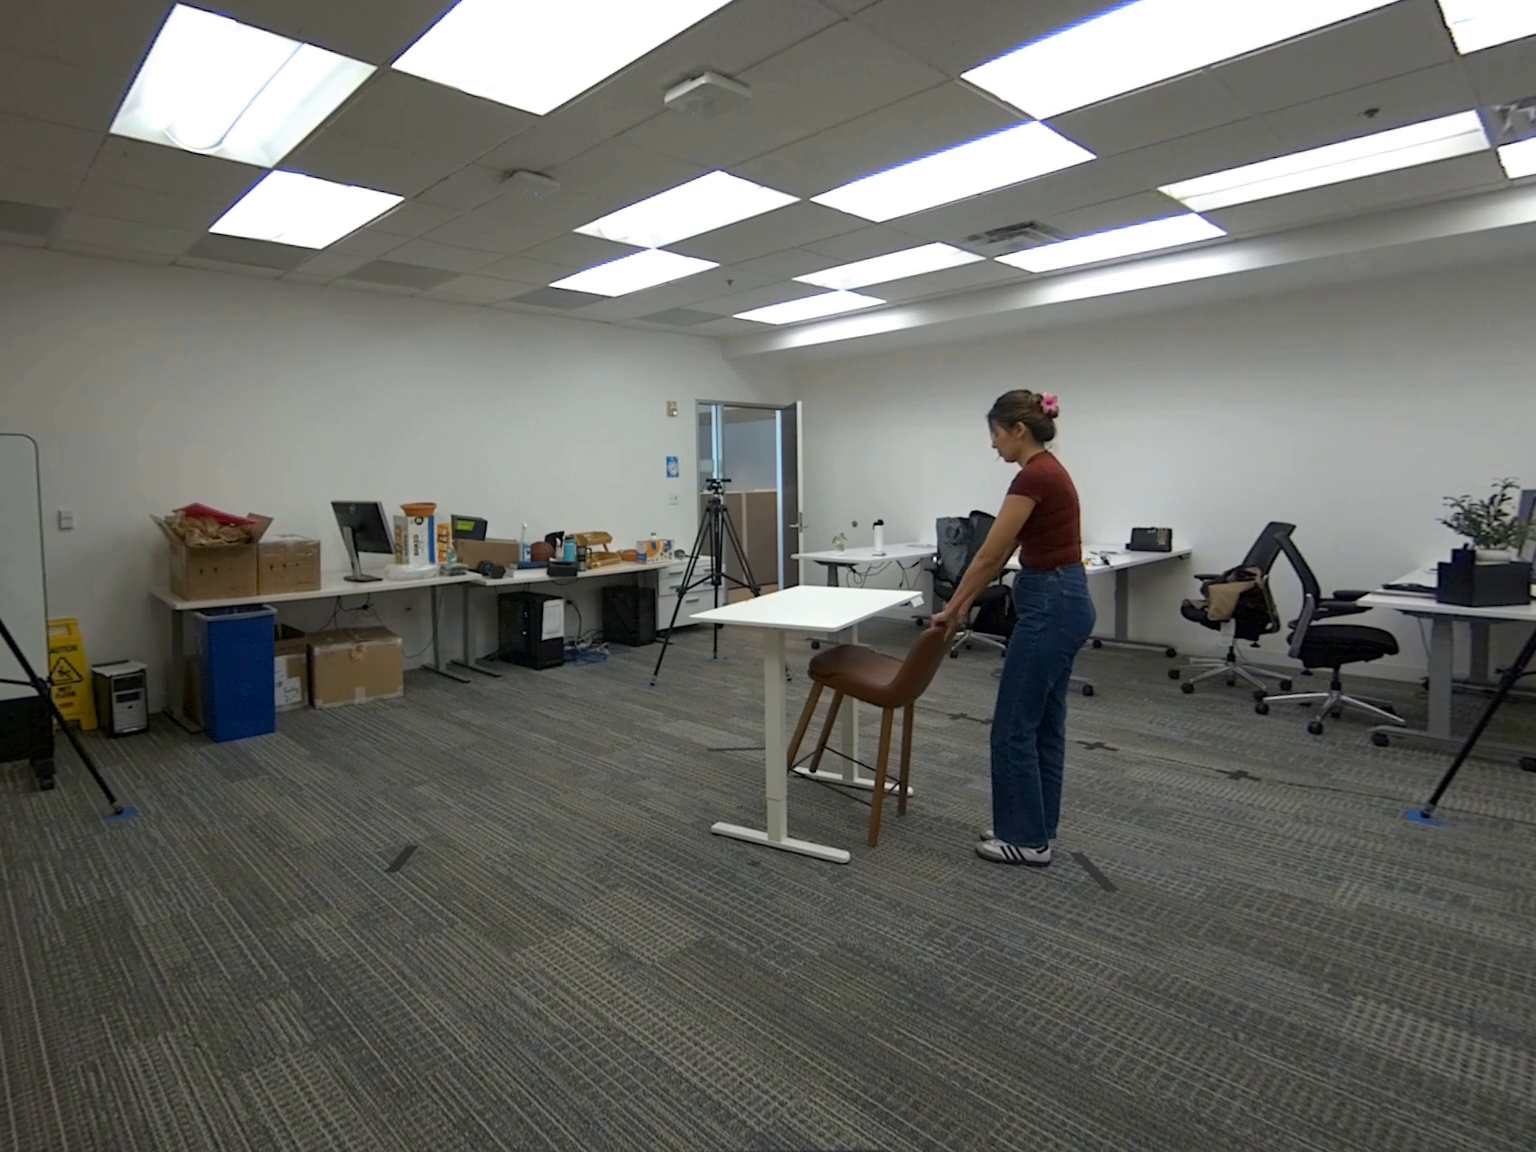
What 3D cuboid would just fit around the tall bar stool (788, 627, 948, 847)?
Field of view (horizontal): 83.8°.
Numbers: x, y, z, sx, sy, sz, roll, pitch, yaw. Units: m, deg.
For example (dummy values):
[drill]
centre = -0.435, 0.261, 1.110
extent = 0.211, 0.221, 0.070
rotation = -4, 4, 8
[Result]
[tall bar stool]
centre = 0.400, 0.533, 3.414
extent = 0.482, 0.882, 0.447
rotation = 20, 14, 26
